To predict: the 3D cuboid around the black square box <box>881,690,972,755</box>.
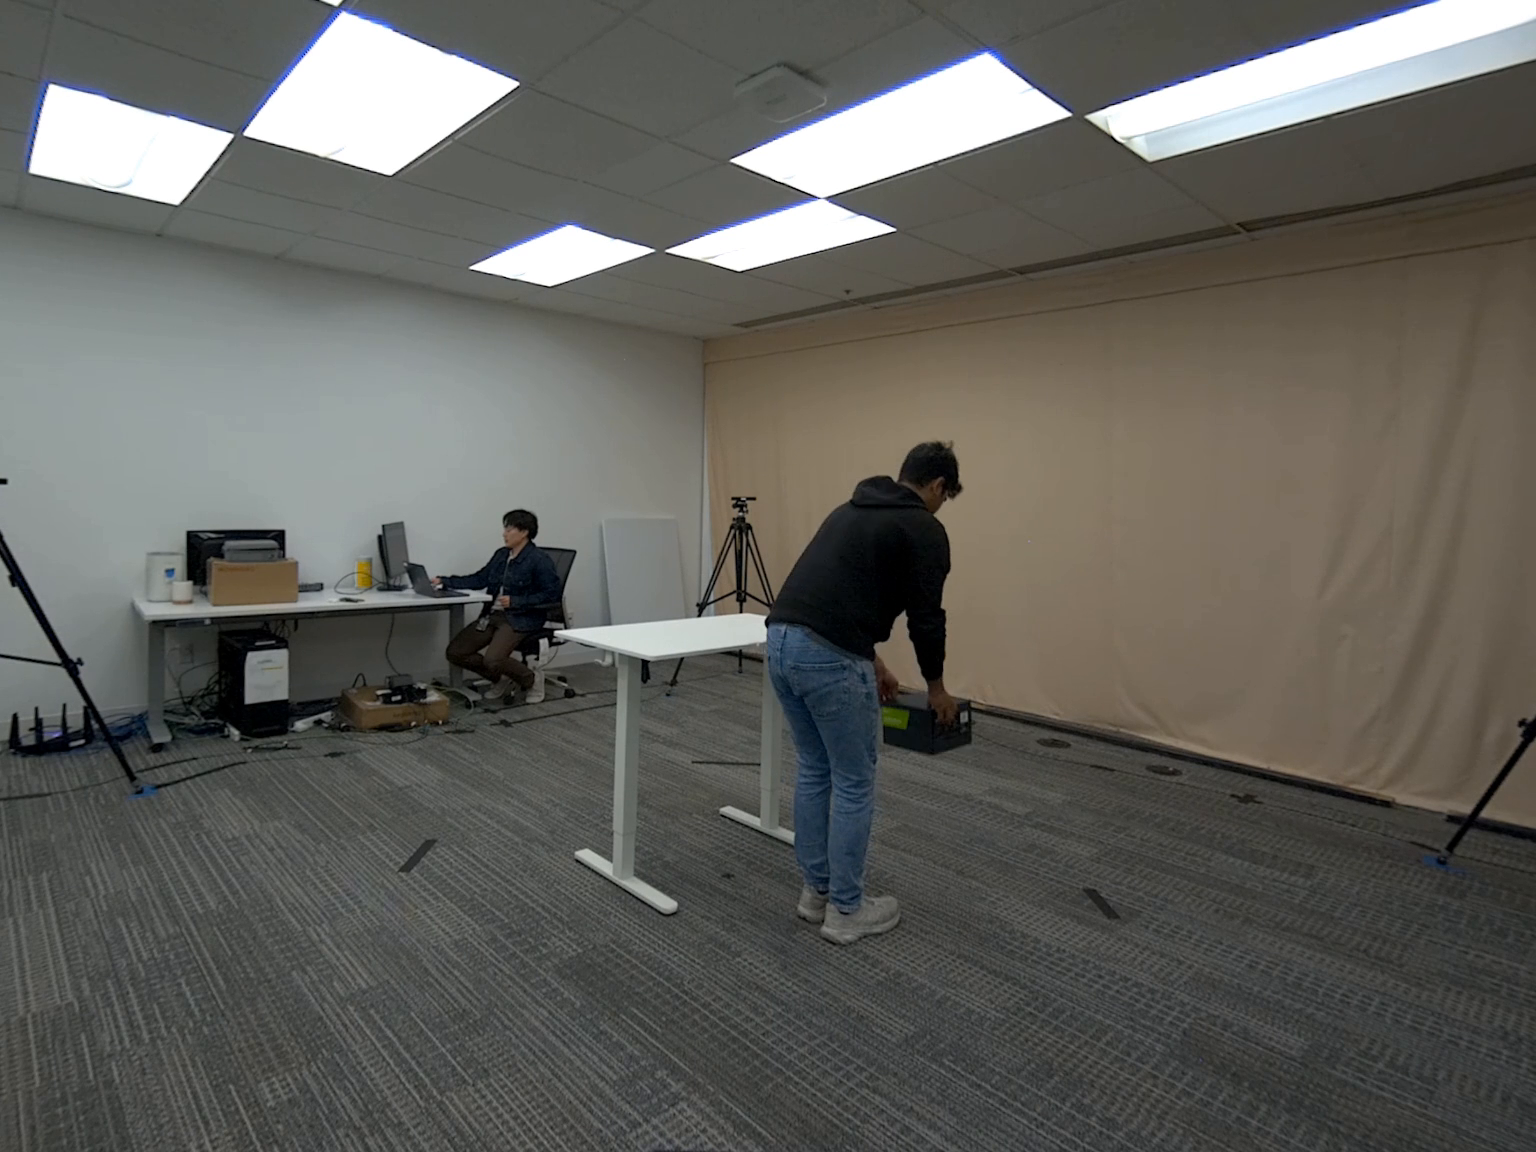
[{"bbox_3d":[0.554,0.522,2.992,0.212,0.155,0.233,-5,5,-39],"label":"black square box"}]
